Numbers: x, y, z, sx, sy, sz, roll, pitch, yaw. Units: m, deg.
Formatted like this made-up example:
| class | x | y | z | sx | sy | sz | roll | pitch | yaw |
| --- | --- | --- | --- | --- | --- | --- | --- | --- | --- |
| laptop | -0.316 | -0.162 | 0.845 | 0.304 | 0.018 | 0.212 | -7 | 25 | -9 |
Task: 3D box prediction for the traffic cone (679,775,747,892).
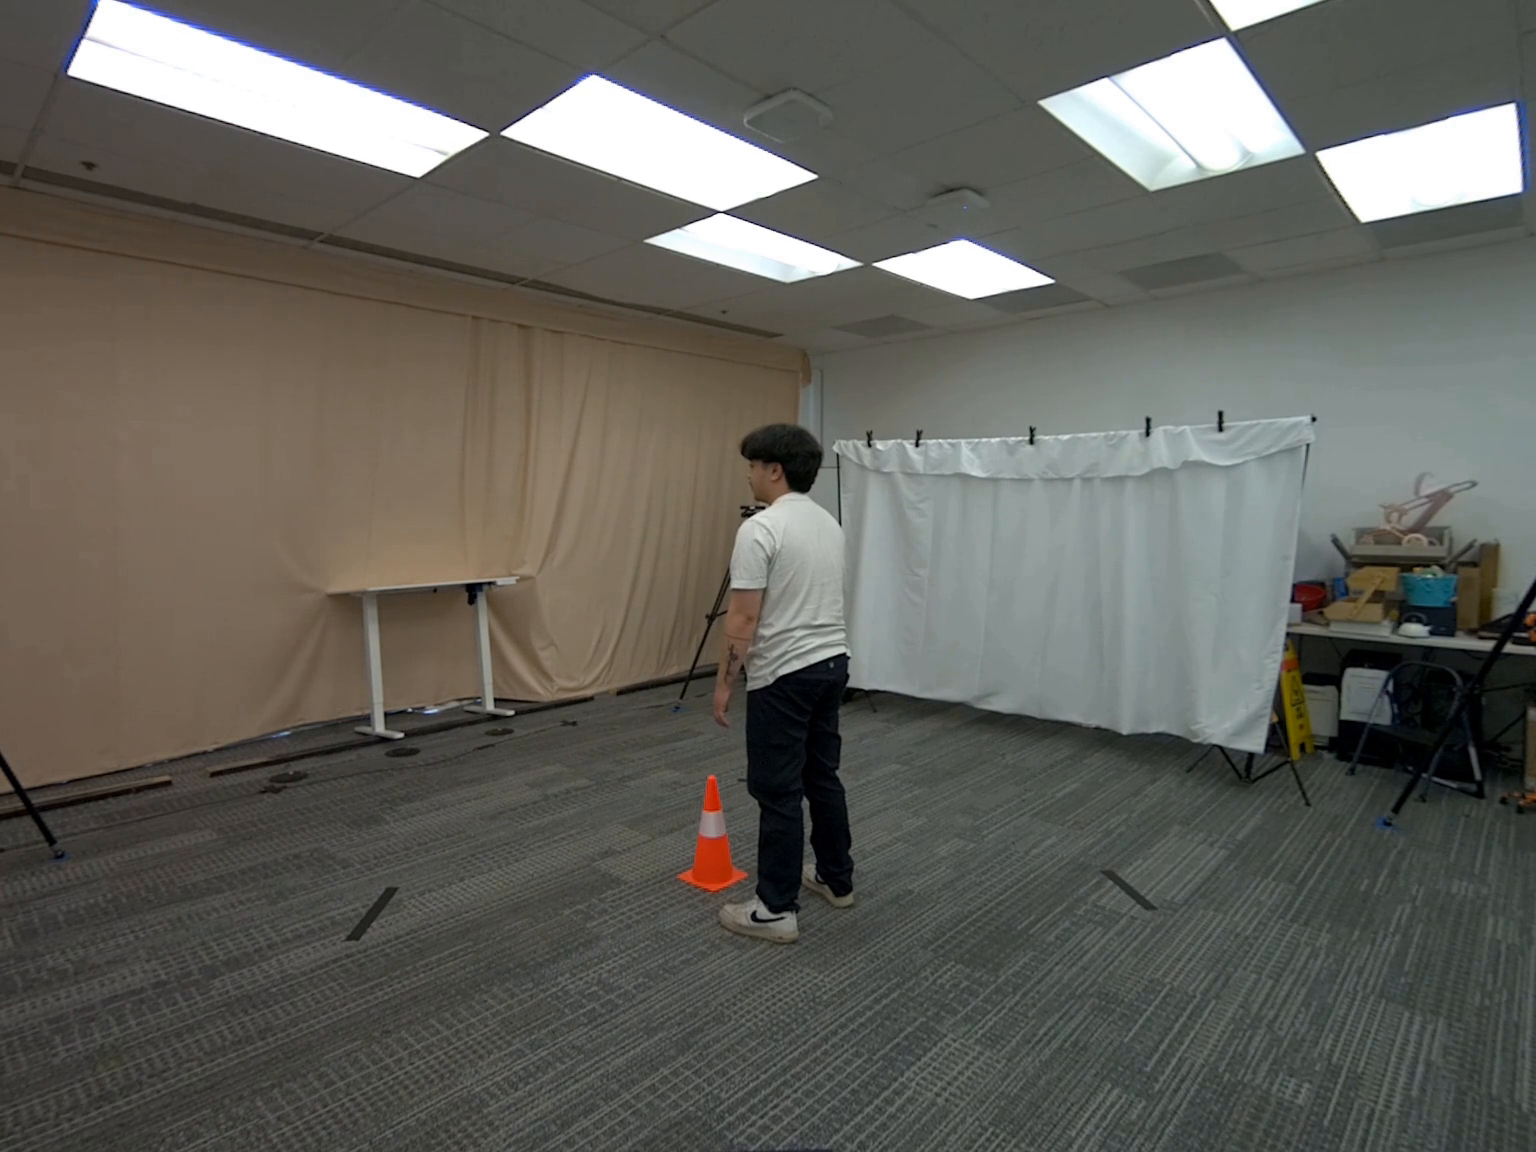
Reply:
| class | x | y | z | sx | sy | sz | roll | pitch | yaw |
| --- | --- | --- | --- | --- | --- | --- | --- | --- | --- |
| traffic cone | -0.215 | 0.948 | 3.157 | 0.210 | 0.383 | 0.199 | 1 | 4 | 37 |
